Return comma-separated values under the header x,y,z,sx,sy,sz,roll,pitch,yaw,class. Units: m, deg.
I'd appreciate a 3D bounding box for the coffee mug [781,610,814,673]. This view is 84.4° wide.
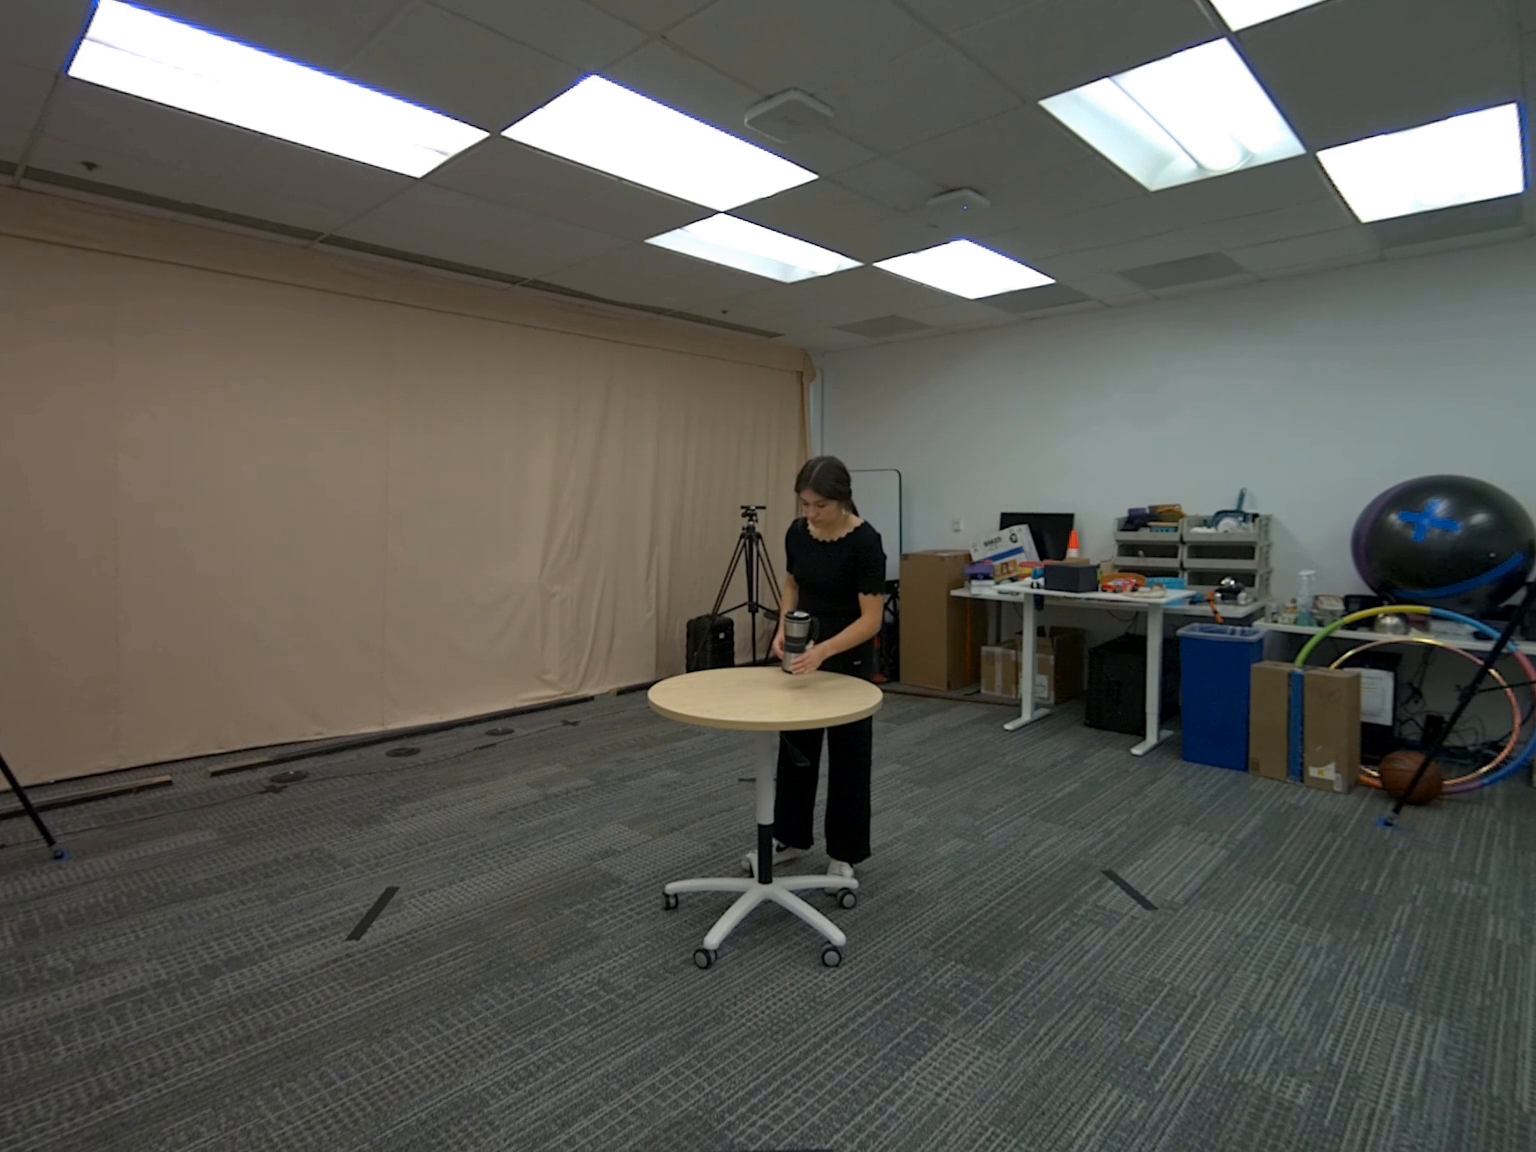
x,y,z,sx,sy,sz,roll,pitch,yaw,class
0.114,0.226,2.784,0.123,0.202,0.087,4,10,10,coffee mug
